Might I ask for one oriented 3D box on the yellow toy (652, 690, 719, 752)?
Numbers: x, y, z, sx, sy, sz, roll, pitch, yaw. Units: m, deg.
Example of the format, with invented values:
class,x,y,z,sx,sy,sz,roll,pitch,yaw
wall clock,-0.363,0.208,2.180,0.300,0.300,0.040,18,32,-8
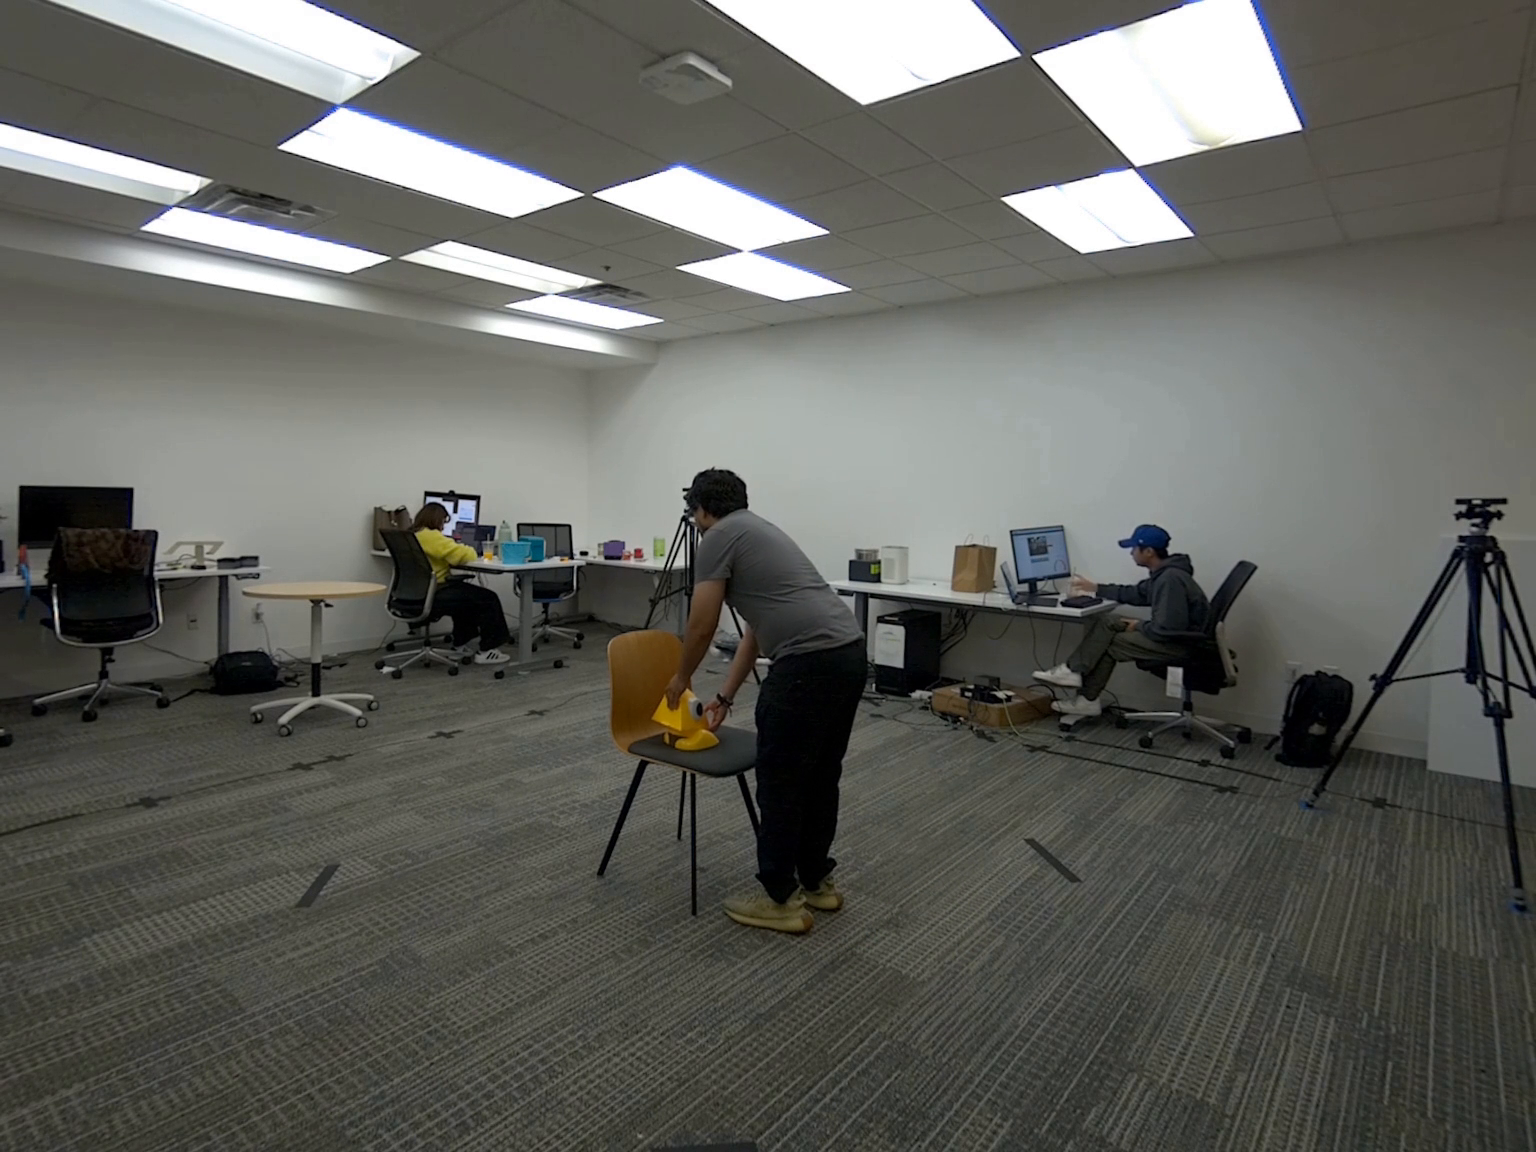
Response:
class,x,y,z,sx,sy,sz,roll,pitch,yaw
yellow toy,-0.295,0.481,3.063,0.187,0.230,0.211,-3,2,-35
